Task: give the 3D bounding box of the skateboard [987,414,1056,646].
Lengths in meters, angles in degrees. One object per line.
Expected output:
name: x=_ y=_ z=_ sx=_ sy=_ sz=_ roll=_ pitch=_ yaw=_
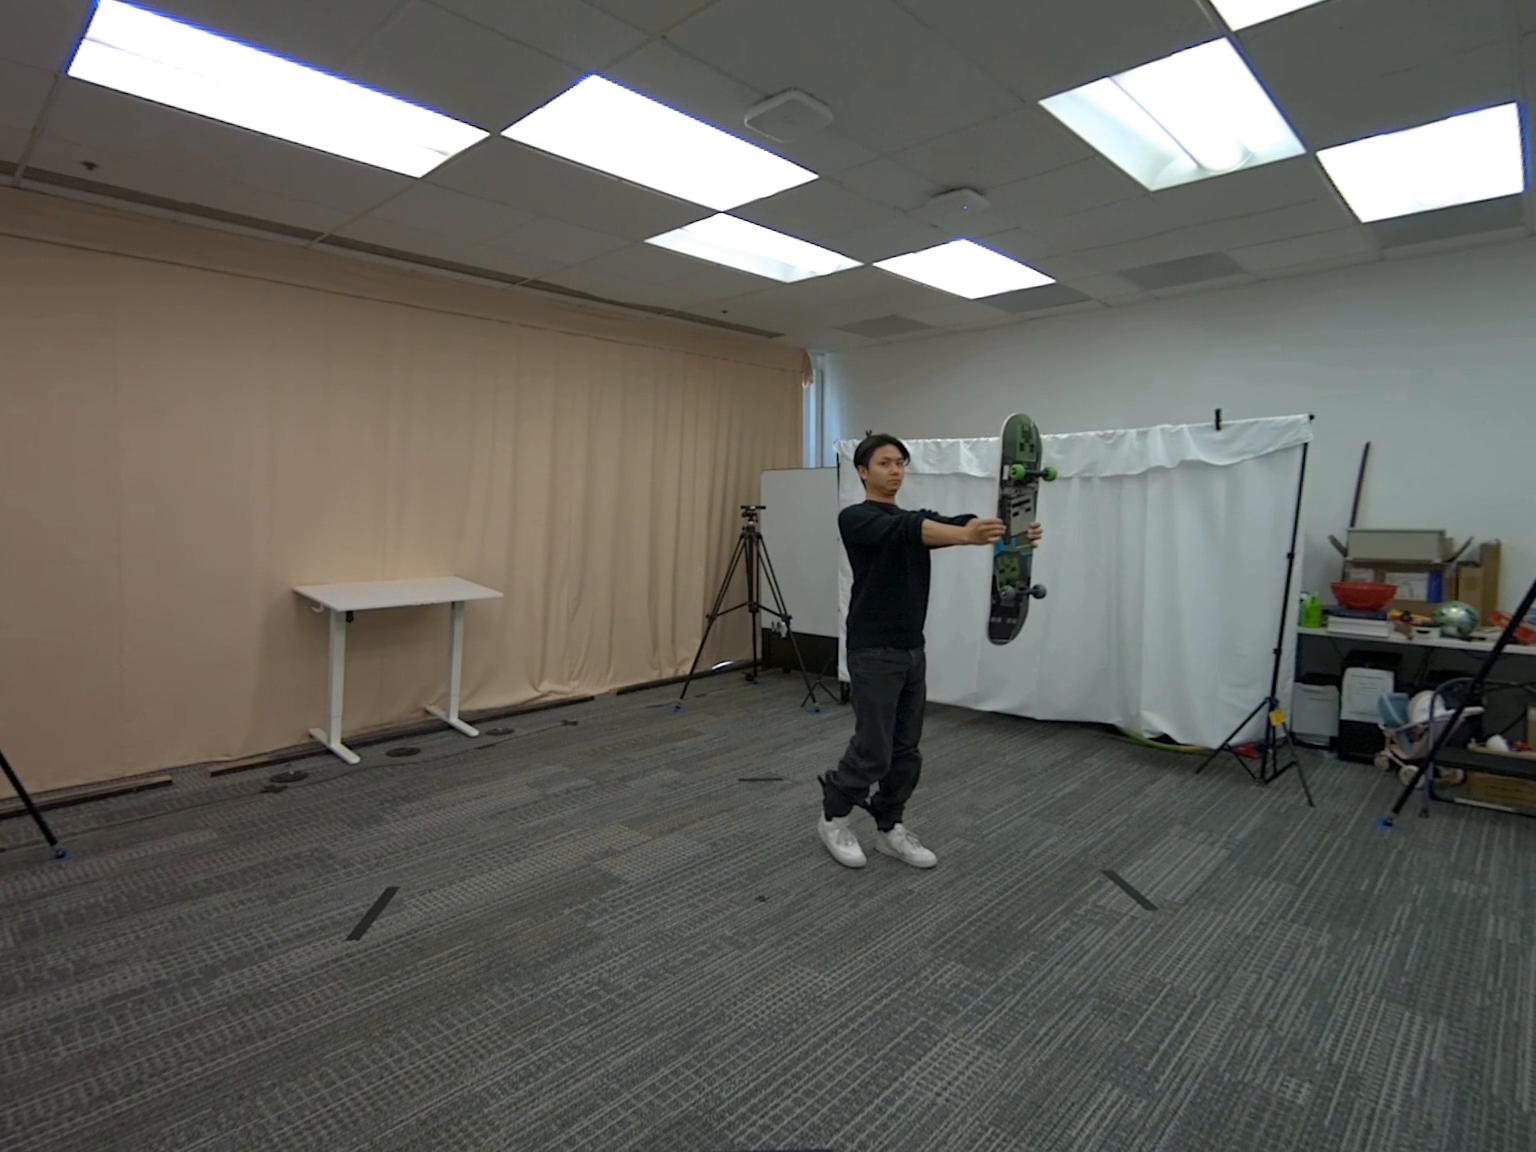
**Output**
skateboard: x=0.845 y=-0.144 z=2.814 sx=0.188 sy=0.782 sz=0.114 roll=0 pitch=7 yaw=-31
